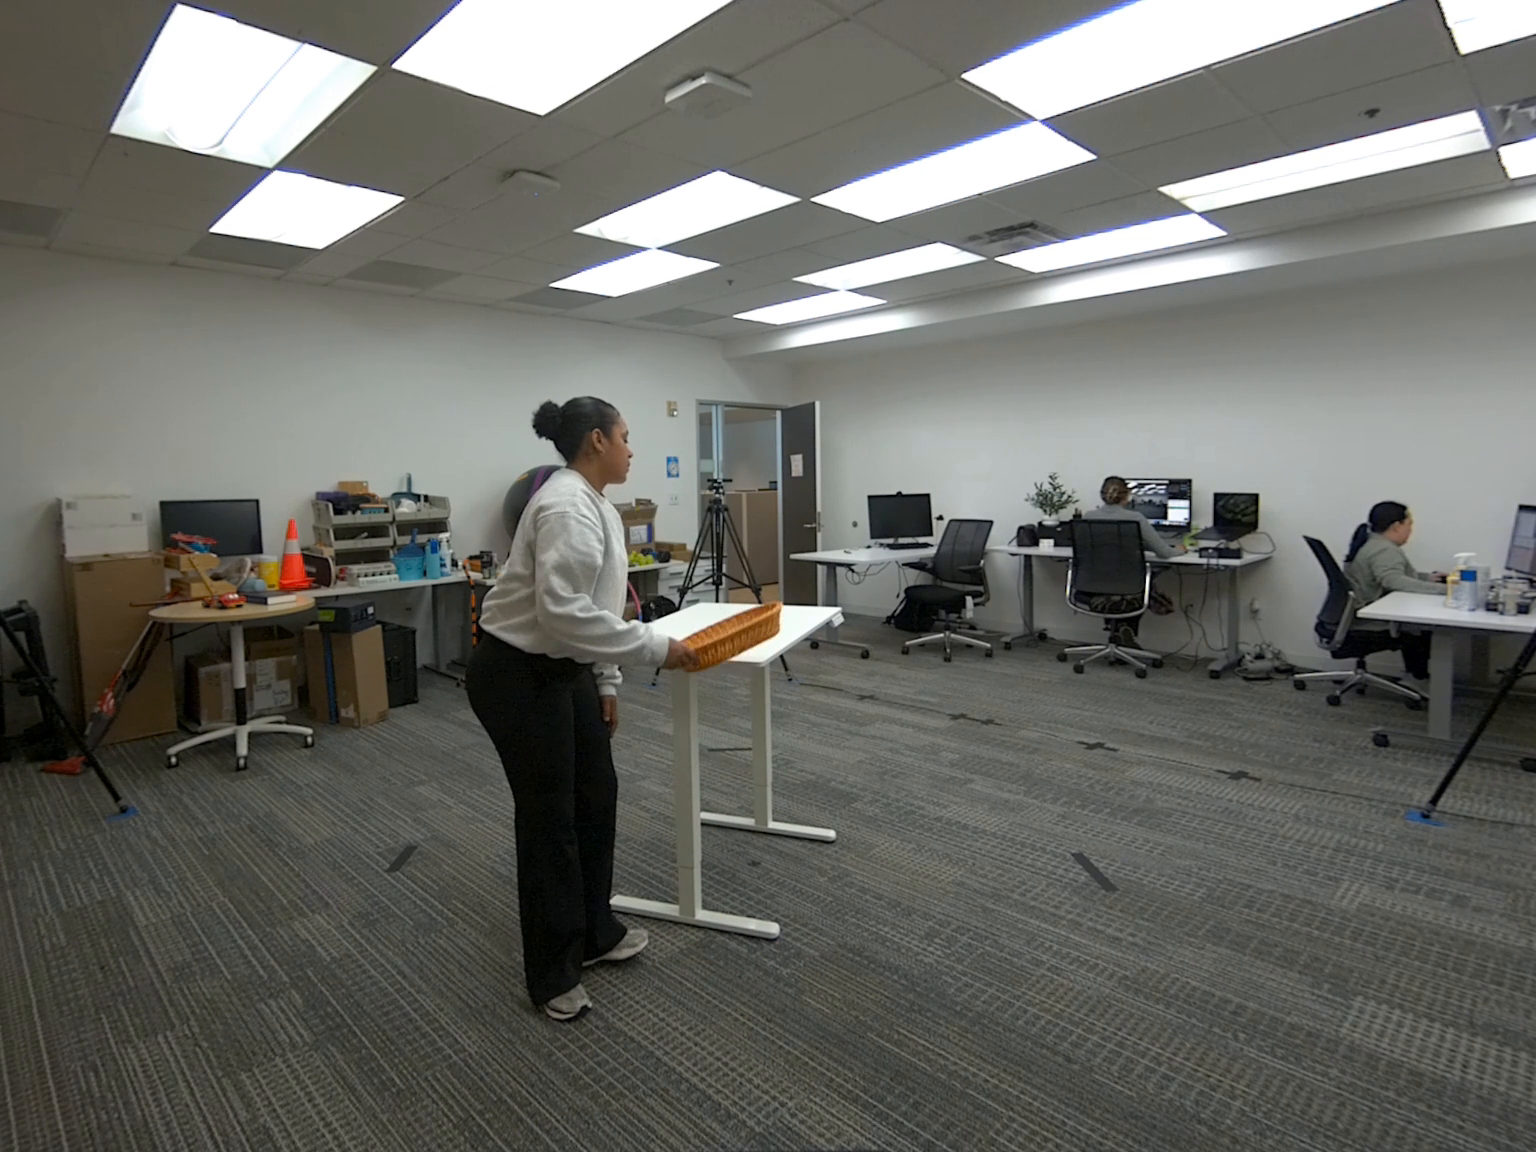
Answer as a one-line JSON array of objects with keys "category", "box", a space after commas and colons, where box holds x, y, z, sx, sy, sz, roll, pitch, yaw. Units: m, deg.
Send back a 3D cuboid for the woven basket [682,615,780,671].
[{"category": "woven basket", "box": [-0.195, 0.219, 2.274, 0.345, 0.073, 0.257, -19, 7, -25]}]
